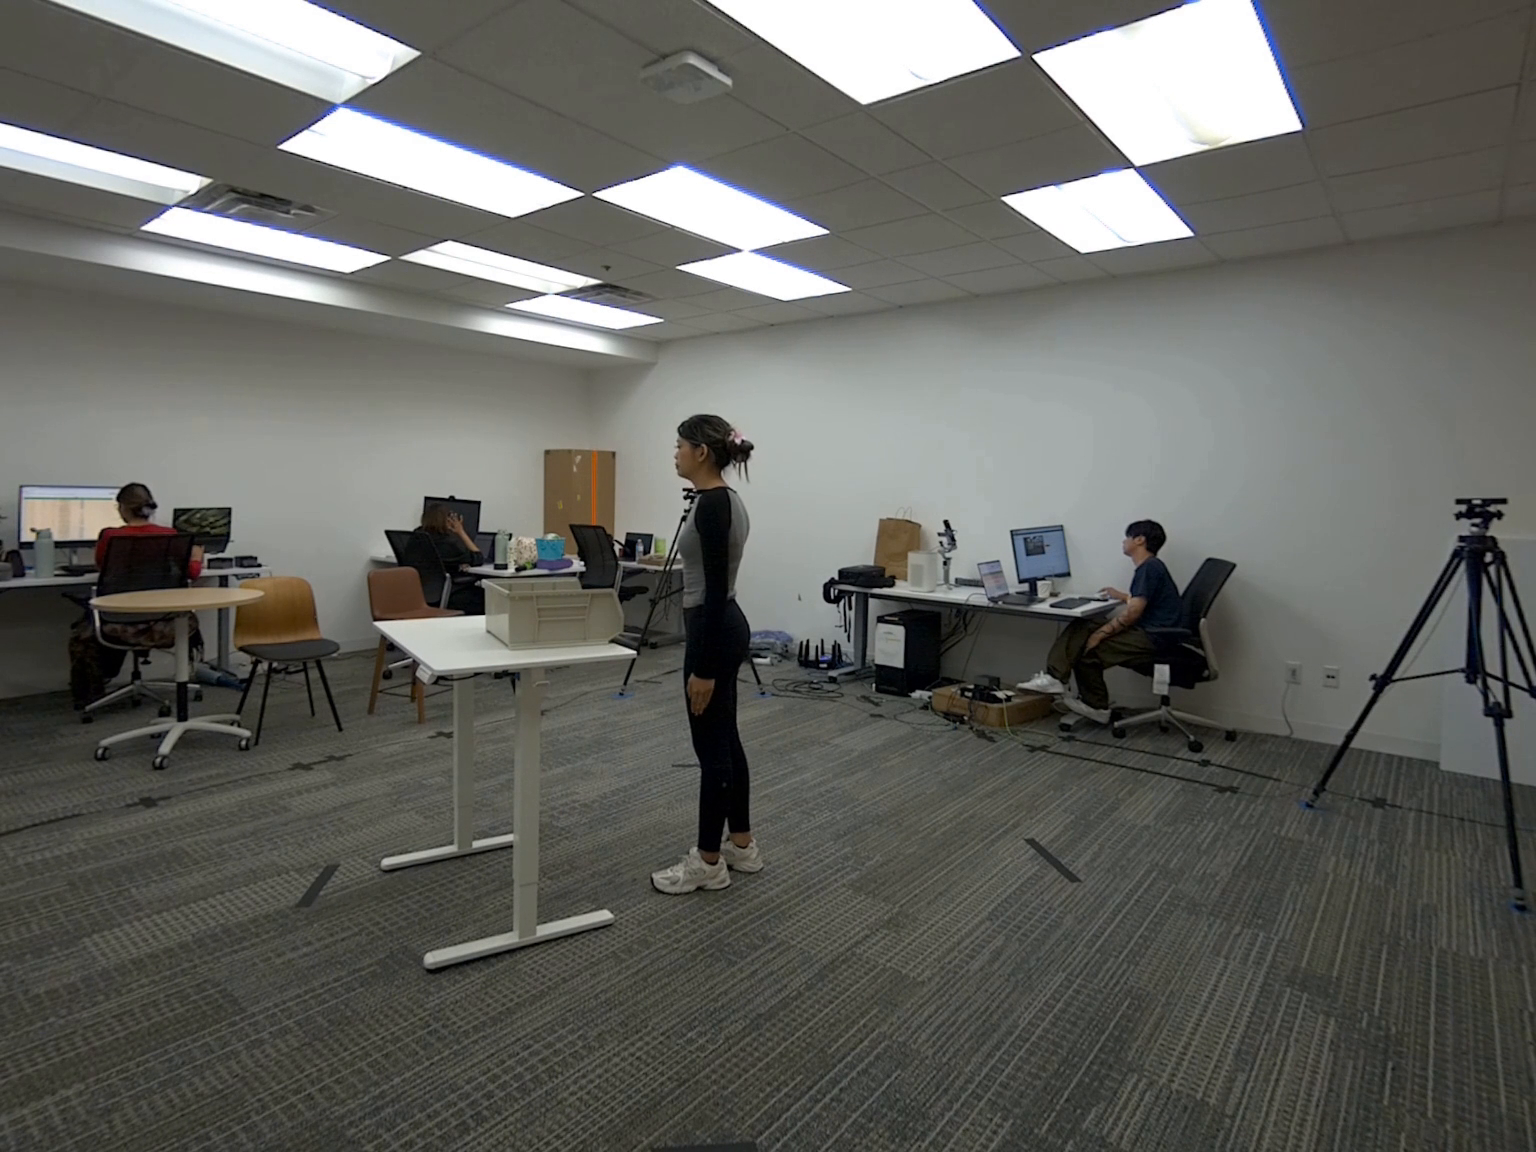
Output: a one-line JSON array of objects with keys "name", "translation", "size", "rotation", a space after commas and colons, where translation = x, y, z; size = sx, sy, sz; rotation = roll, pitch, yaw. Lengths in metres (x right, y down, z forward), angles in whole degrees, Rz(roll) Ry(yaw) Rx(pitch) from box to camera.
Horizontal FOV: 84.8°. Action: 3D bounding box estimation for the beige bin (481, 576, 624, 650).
[{"name": "beige bin", "translation": [-0.743, 0.116, 2.843], "size": [0.368, 0.188, 0.435], "rotation": [-2, 6, -28]}]
